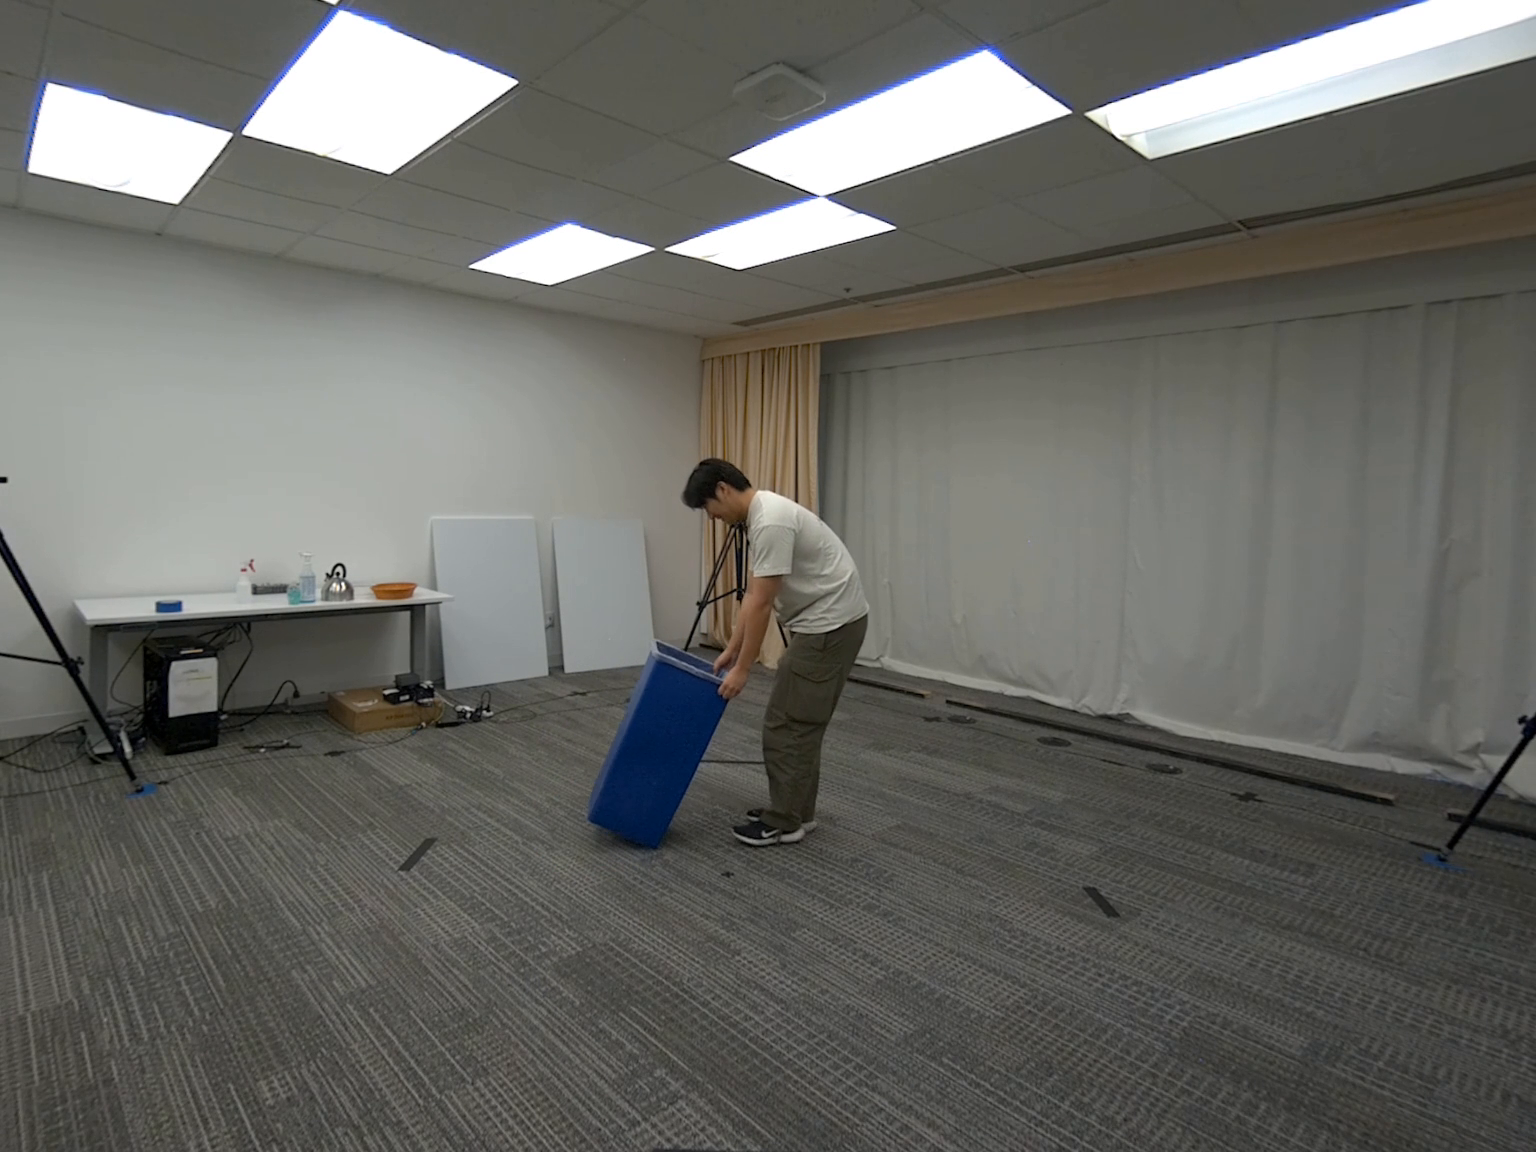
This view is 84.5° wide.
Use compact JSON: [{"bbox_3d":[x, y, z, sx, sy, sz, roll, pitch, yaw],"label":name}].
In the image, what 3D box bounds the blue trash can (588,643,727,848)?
[{"bbox_3d":[-0.455,0.676,3.425,0.370,0.714,0.381,25,-2,-10],"label":"blue trash can"}]
